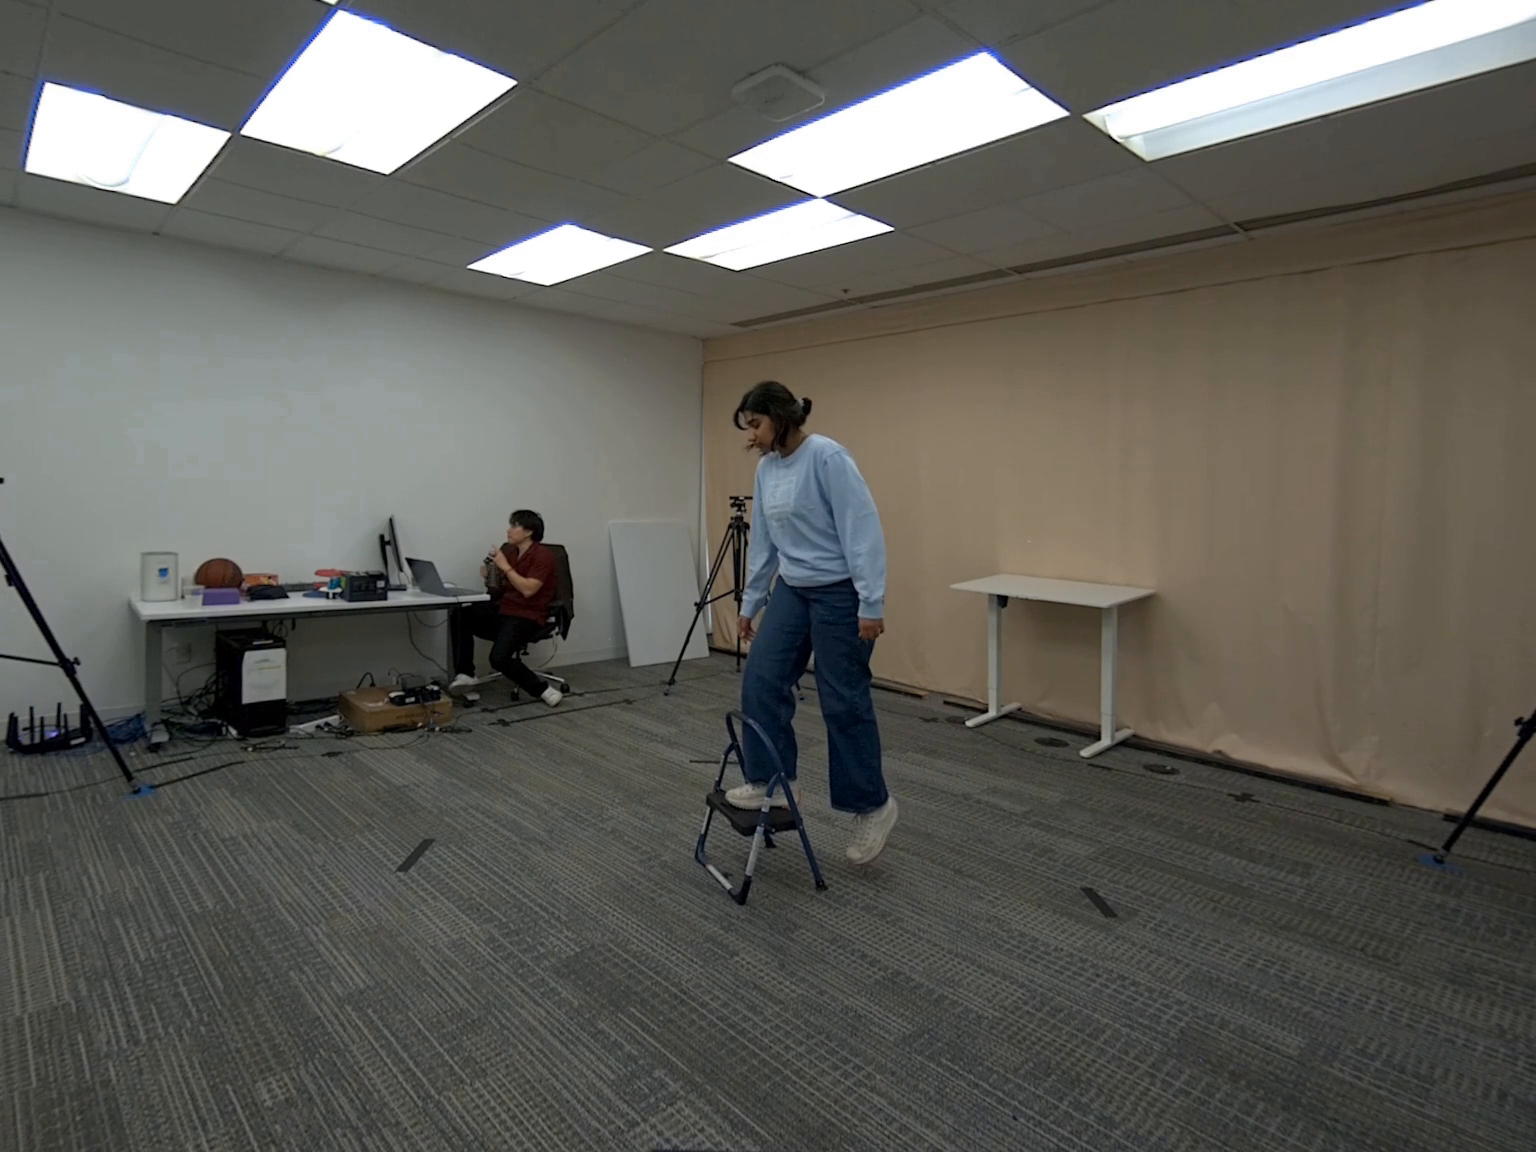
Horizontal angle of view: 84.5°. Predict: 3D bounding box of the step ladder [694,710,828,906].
[{"bbox_3d":[-0.038,0.805,3.109,0.343,0.604,0.440,0,4,-27],"label":"step ladder"}]
